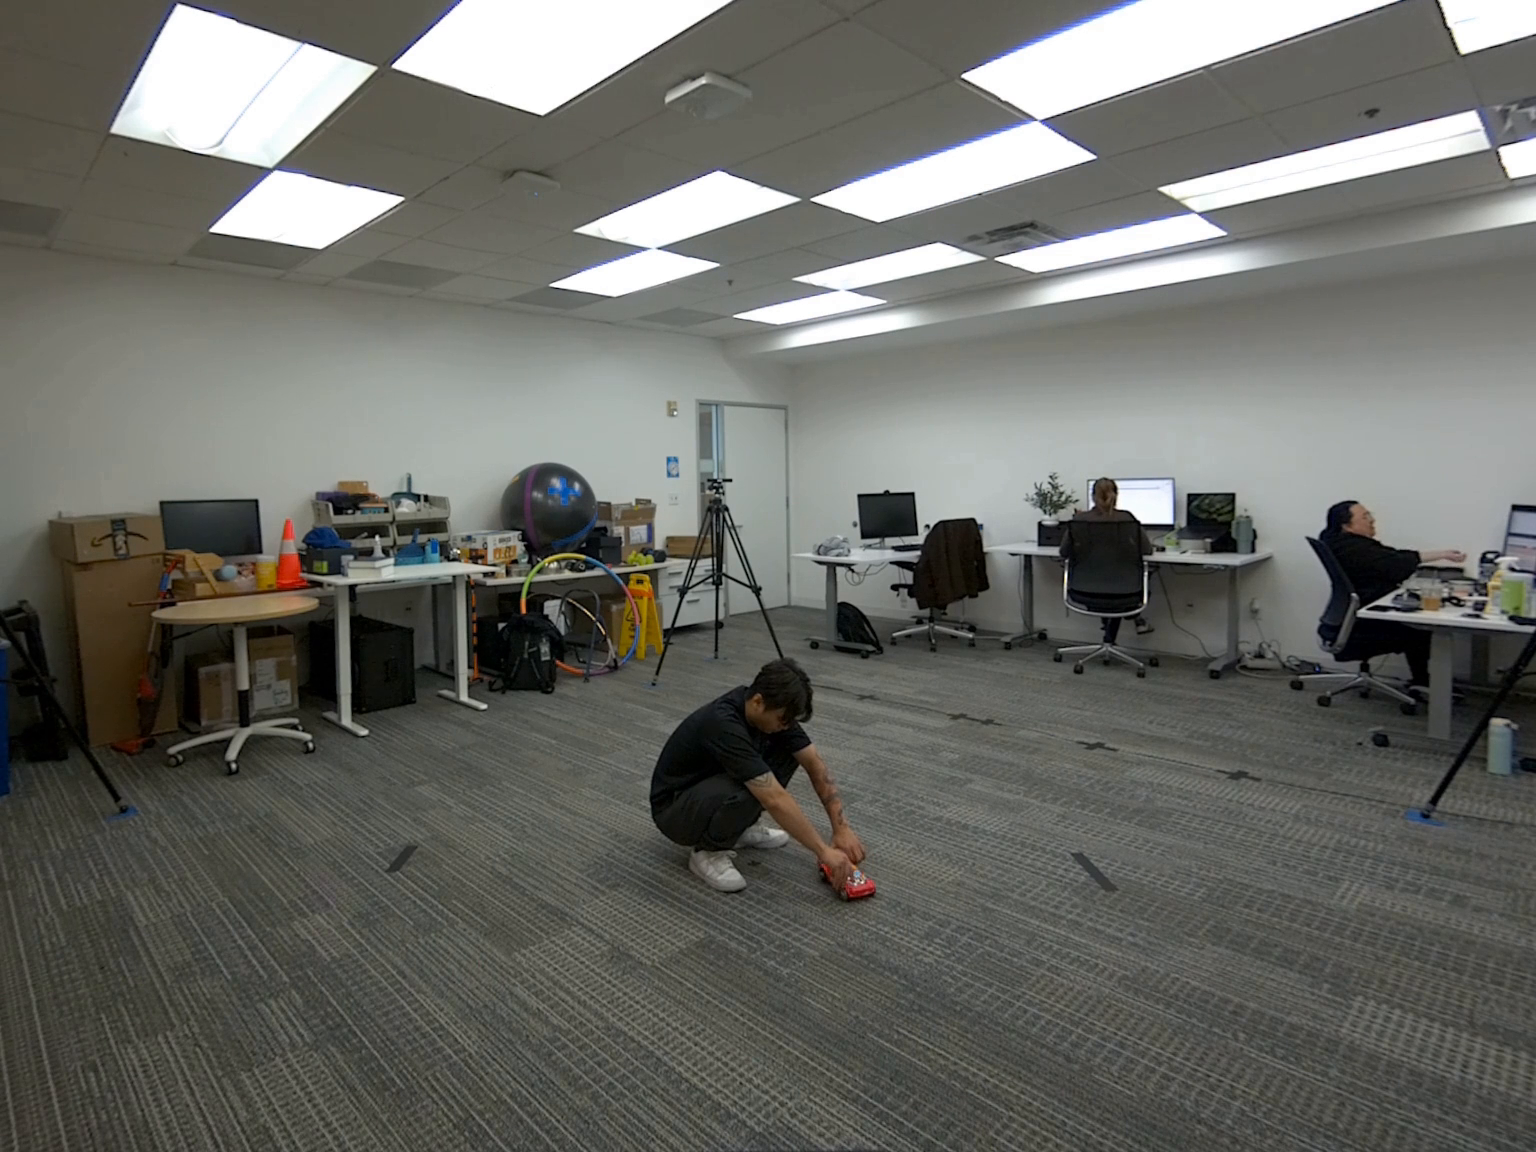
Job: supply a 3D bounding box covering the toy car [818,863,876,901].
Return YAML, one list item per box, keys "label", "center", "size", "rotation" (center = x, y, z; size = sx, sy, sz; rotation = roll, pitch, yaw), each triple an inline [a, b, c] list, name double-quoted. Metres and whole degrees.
- label: "toy car"
  center: [0.259, 1.026, 2.925]
  size: [0.128, 0.082, 0.263]
  rotation: [-3, 18, -23]
